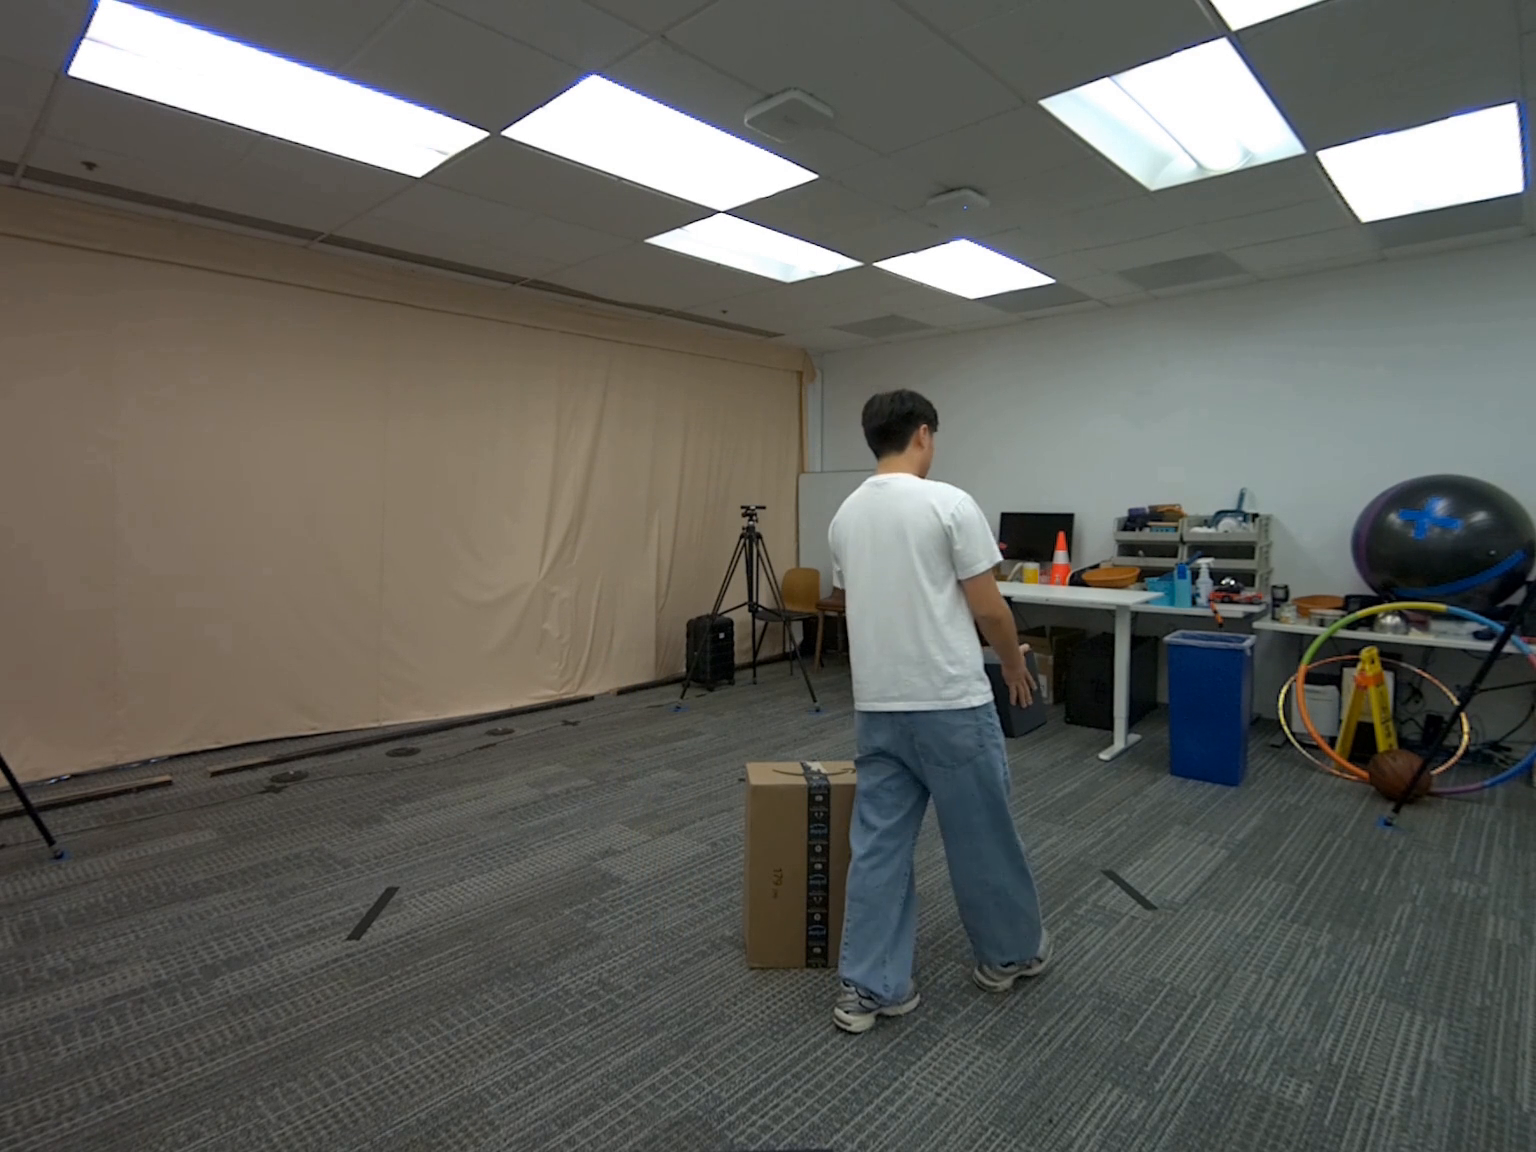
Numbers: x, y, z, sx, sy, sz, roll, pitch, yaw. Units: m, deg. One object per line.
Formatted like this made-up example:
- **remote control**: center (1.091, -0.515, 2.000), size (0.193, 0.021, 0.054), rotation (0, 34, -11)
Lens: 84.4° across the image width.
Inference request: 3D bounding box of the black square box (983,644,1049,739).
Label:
- **black square box**: center (0.702, 0.353, 2.539), size (0.152, 0.227, 0.223), rotation (-14, 5, -34)
